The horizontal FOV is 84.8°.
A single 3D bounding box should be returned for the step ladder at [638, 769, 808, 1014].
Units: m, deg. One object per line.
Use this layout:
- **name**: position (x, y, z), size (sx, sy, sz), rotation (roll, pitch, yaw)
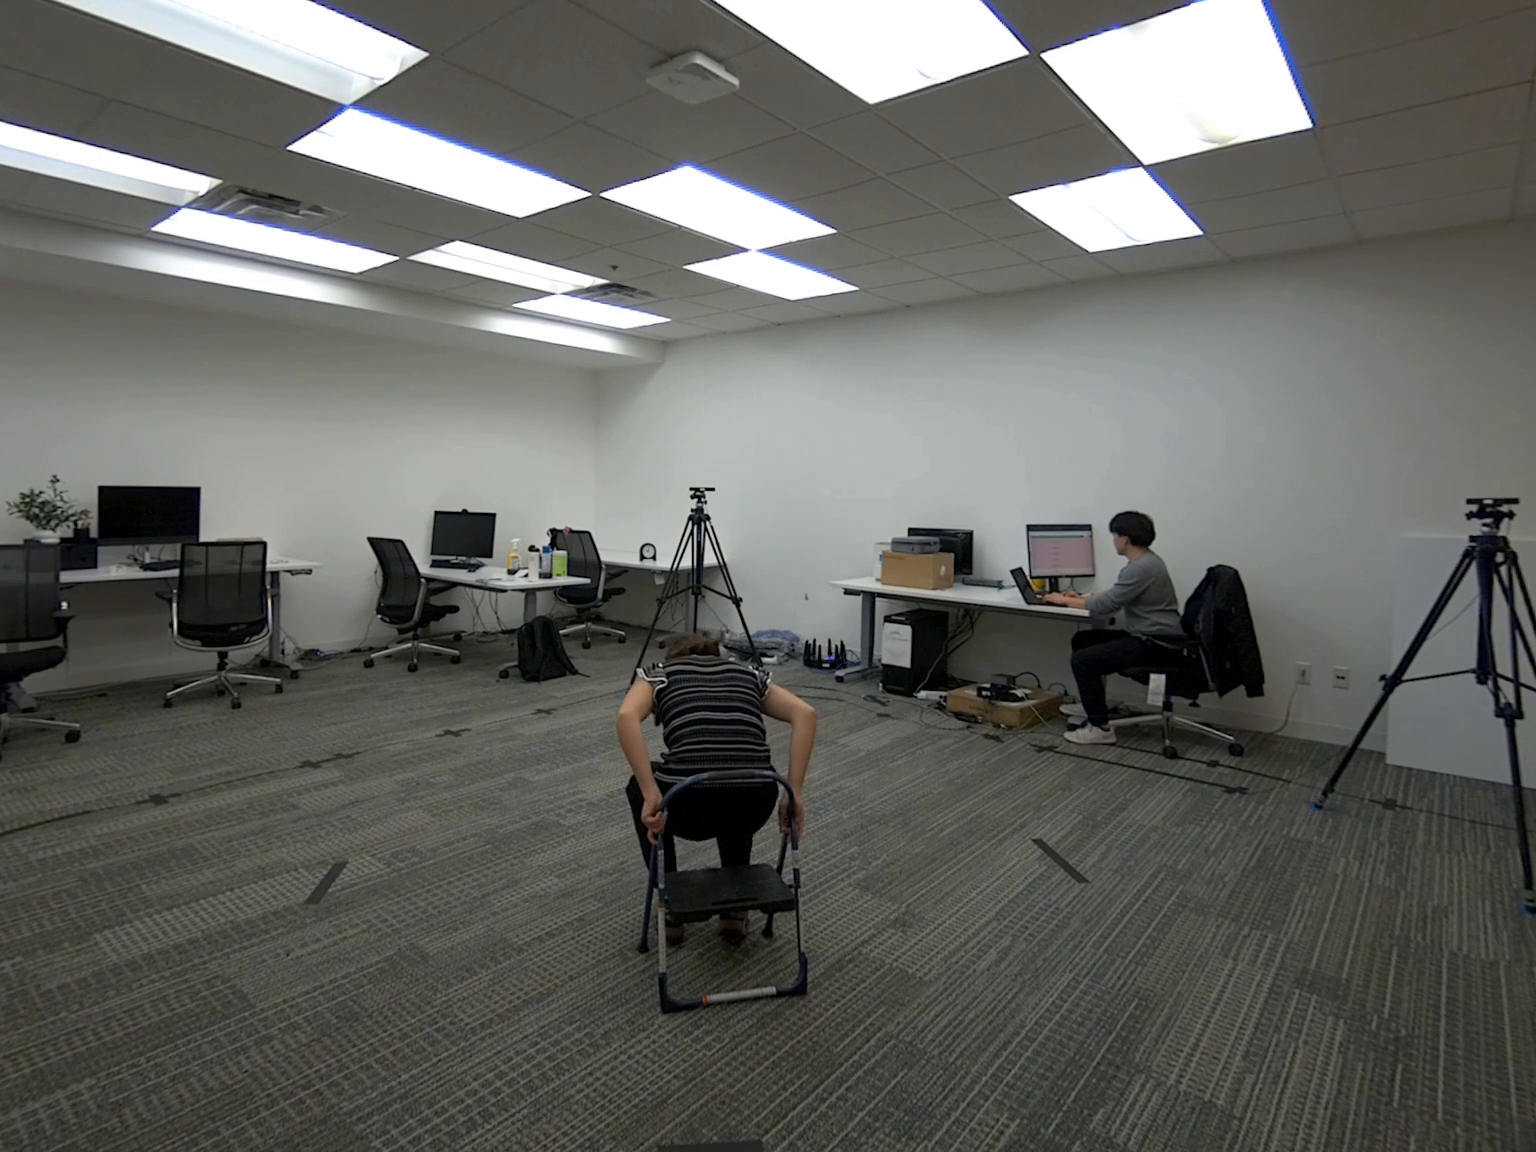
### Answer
- **step ladder**: position (-0.140, 0.836, 2.438), size (0.423, 0.604, 0.356), rotation (0, 3, -17)
